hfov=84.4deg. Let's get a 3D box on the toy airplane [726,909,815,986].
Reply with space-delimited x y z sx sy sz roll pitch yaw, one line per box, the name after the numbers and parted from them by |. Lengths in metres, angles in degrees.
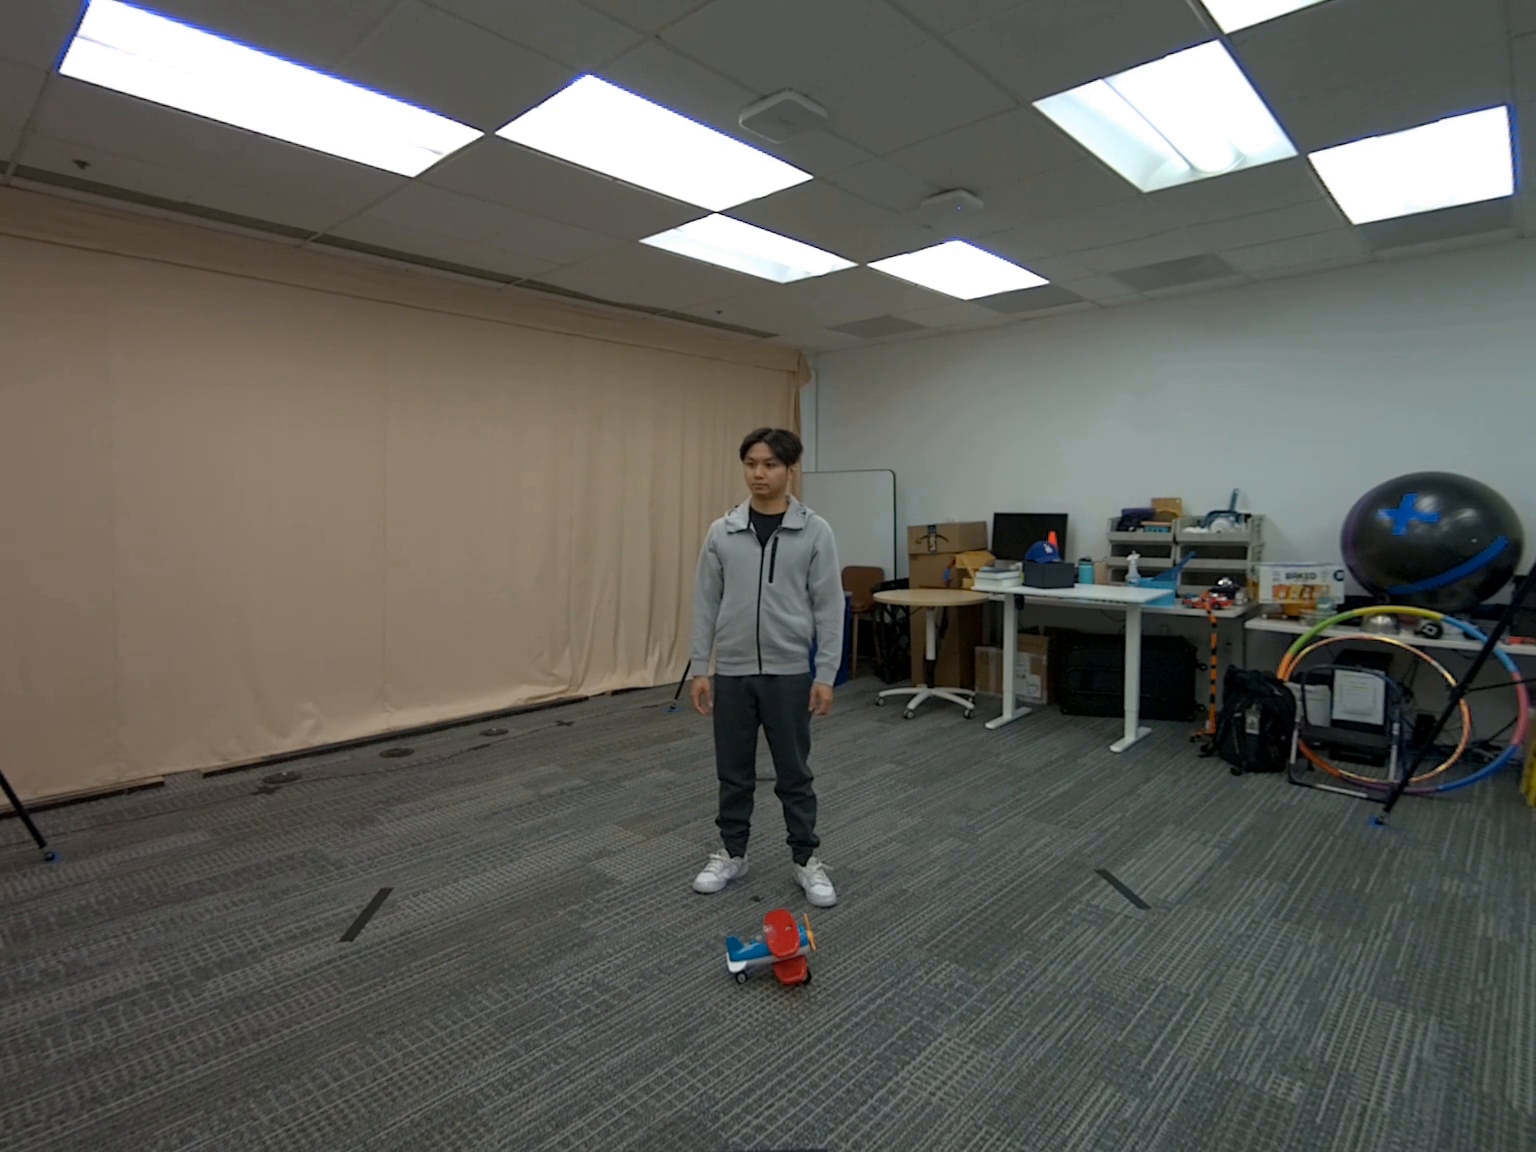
0.011 1.123 2.456 0.253 0.156 0.258 -3 6 -29 | toy airplane
